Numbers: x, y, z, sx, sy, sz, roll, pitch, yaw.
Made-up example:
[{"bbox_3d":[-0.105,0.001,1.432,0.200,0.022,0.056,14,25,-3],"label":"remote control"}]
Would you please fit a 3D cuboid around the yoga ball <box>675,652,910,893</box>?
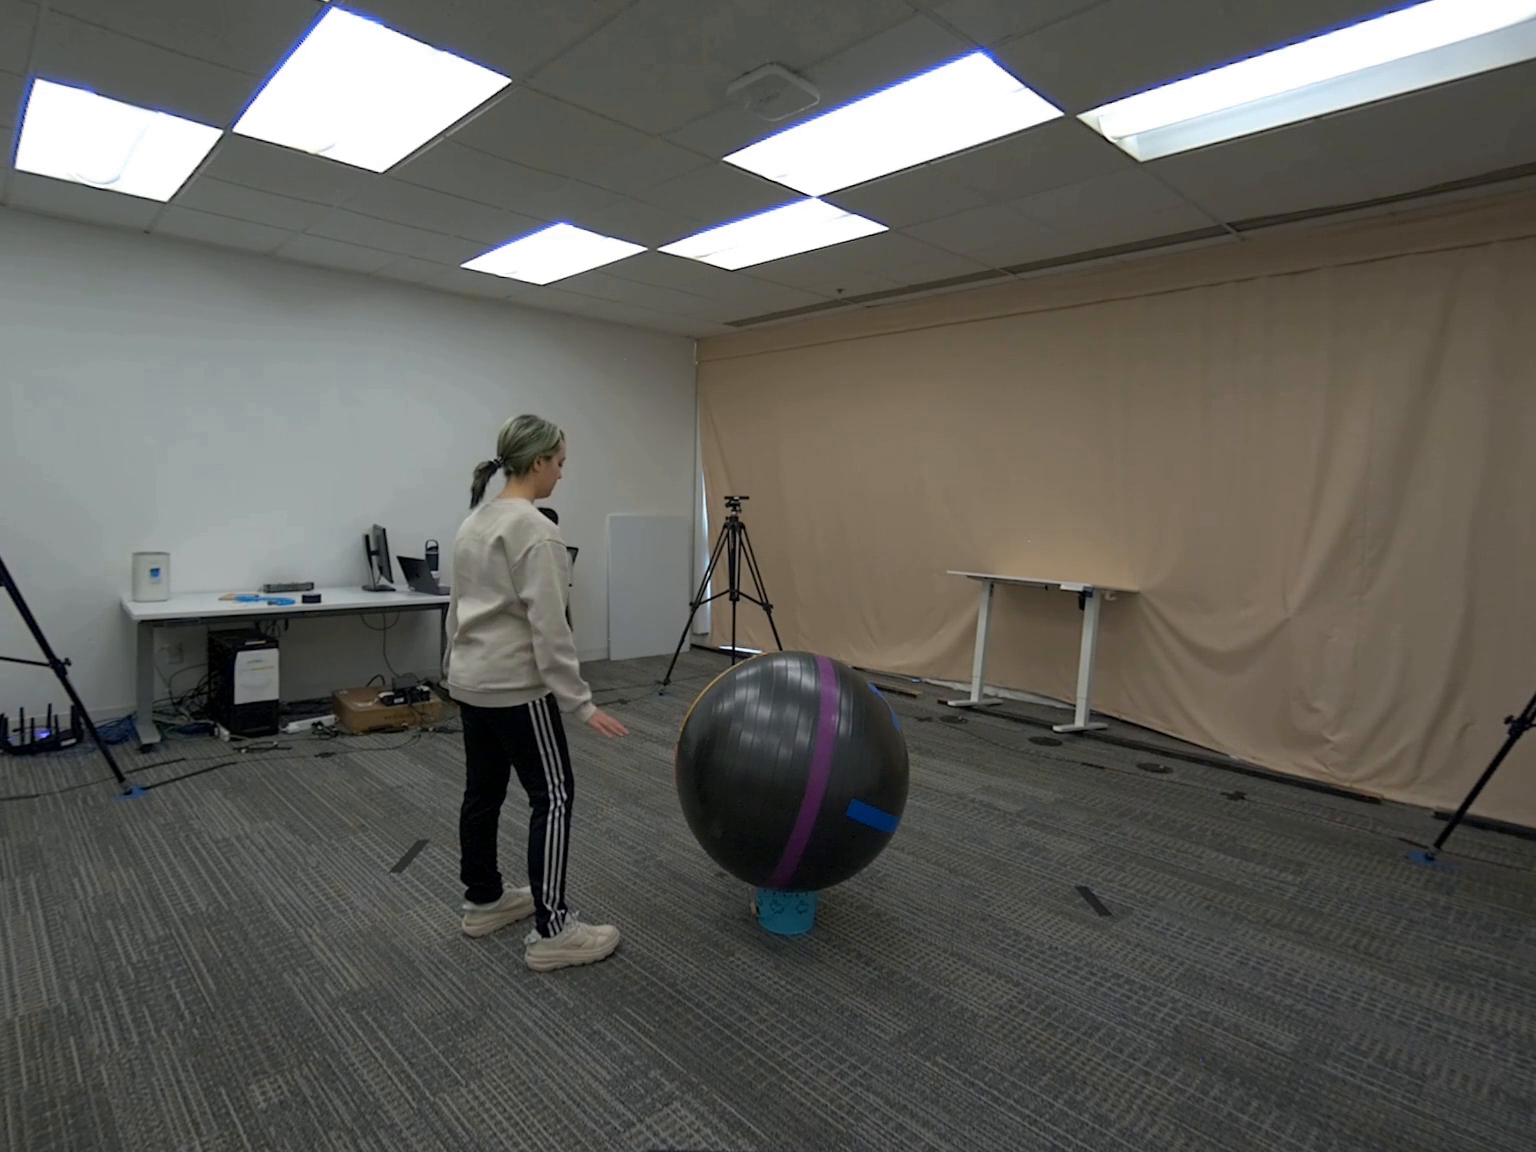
[{"bbox_3d":[0.068,0.630,2.751,0.757,0.756,0.761,1,4,-1],"label":"yoga ball"}]
